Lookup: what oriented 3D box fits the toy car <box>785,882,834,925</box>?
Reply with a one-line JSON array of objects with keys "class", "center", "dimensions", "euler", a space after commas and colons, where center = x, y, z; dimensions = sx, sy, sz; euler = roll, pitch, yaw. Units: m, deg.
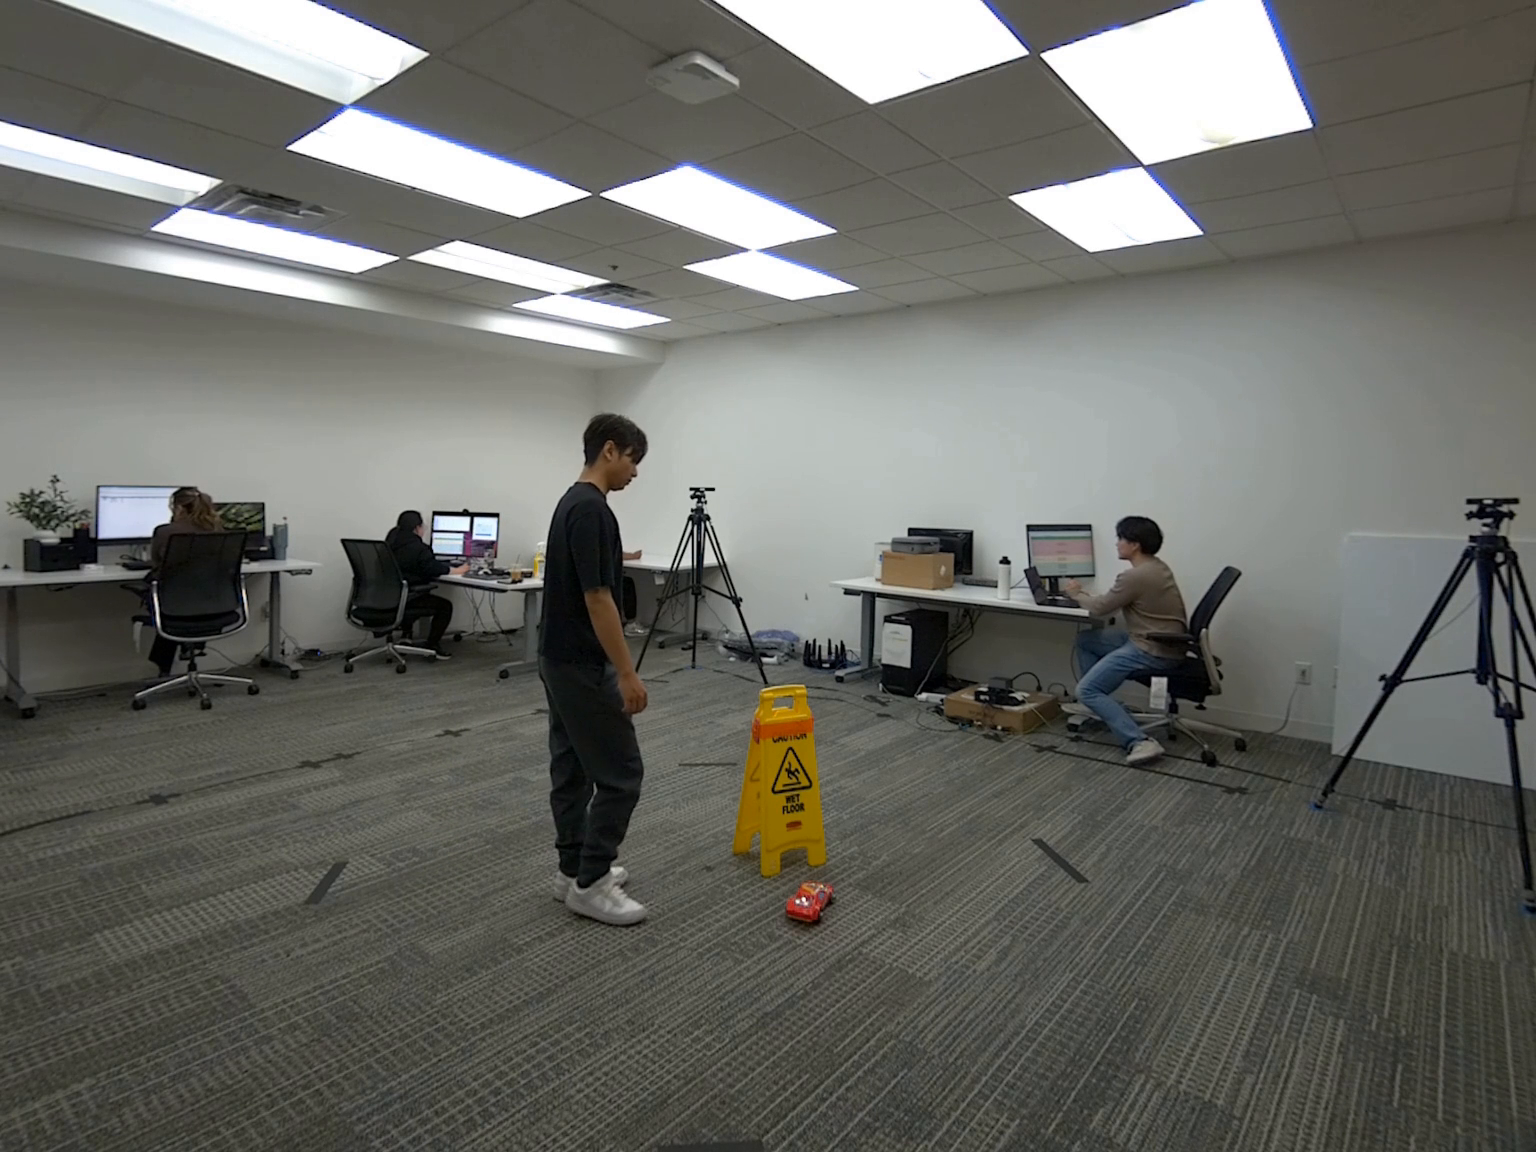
[{"class": "toy car", "center": [0.126, 1.078, 2.800], "dimensions": [0.133, 0.083, 0.247], "euler": [6, -4, 22]}]
